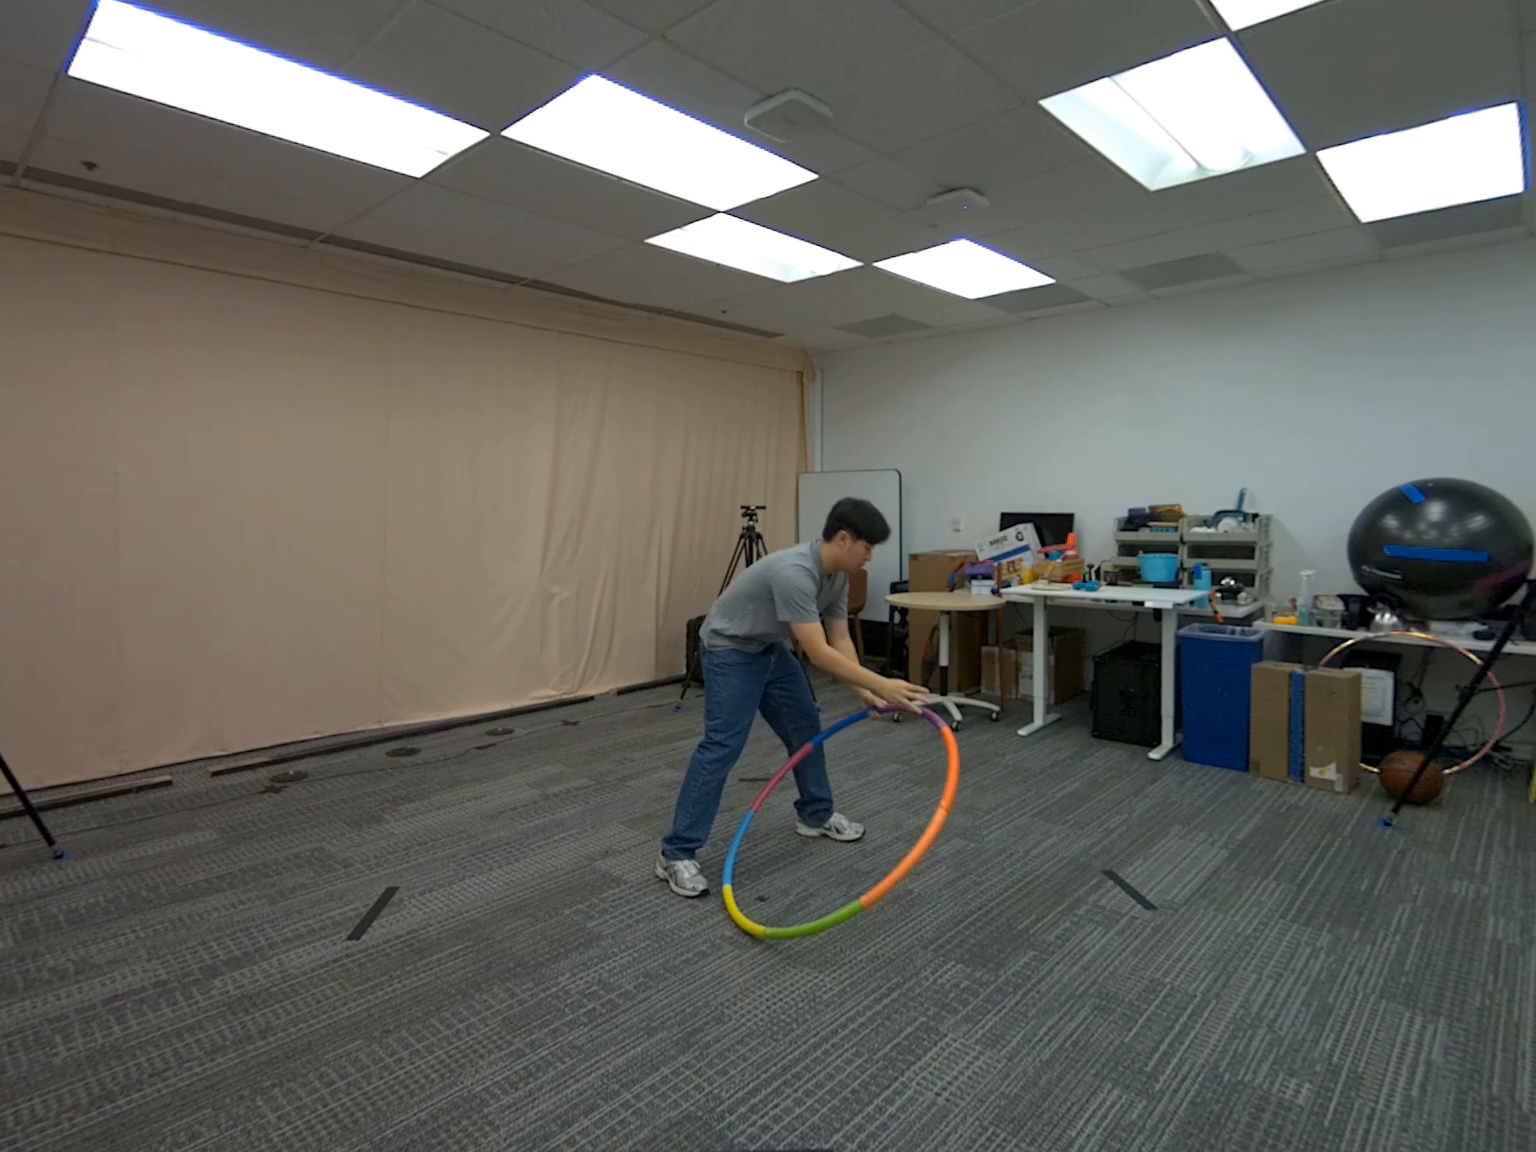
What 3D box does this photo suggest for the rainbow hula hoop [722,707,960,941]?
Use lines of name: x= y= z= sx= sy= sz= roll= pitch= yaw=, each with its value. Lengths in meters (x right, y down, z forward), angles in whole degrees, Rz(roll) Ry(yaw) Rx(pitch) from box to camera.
rainbow hula hoop: x=0.228 y=0.814 z=2.927 sx=0.983 sy=0.035 sz=0.991 roll=-37 pitch=17 yaw=10
